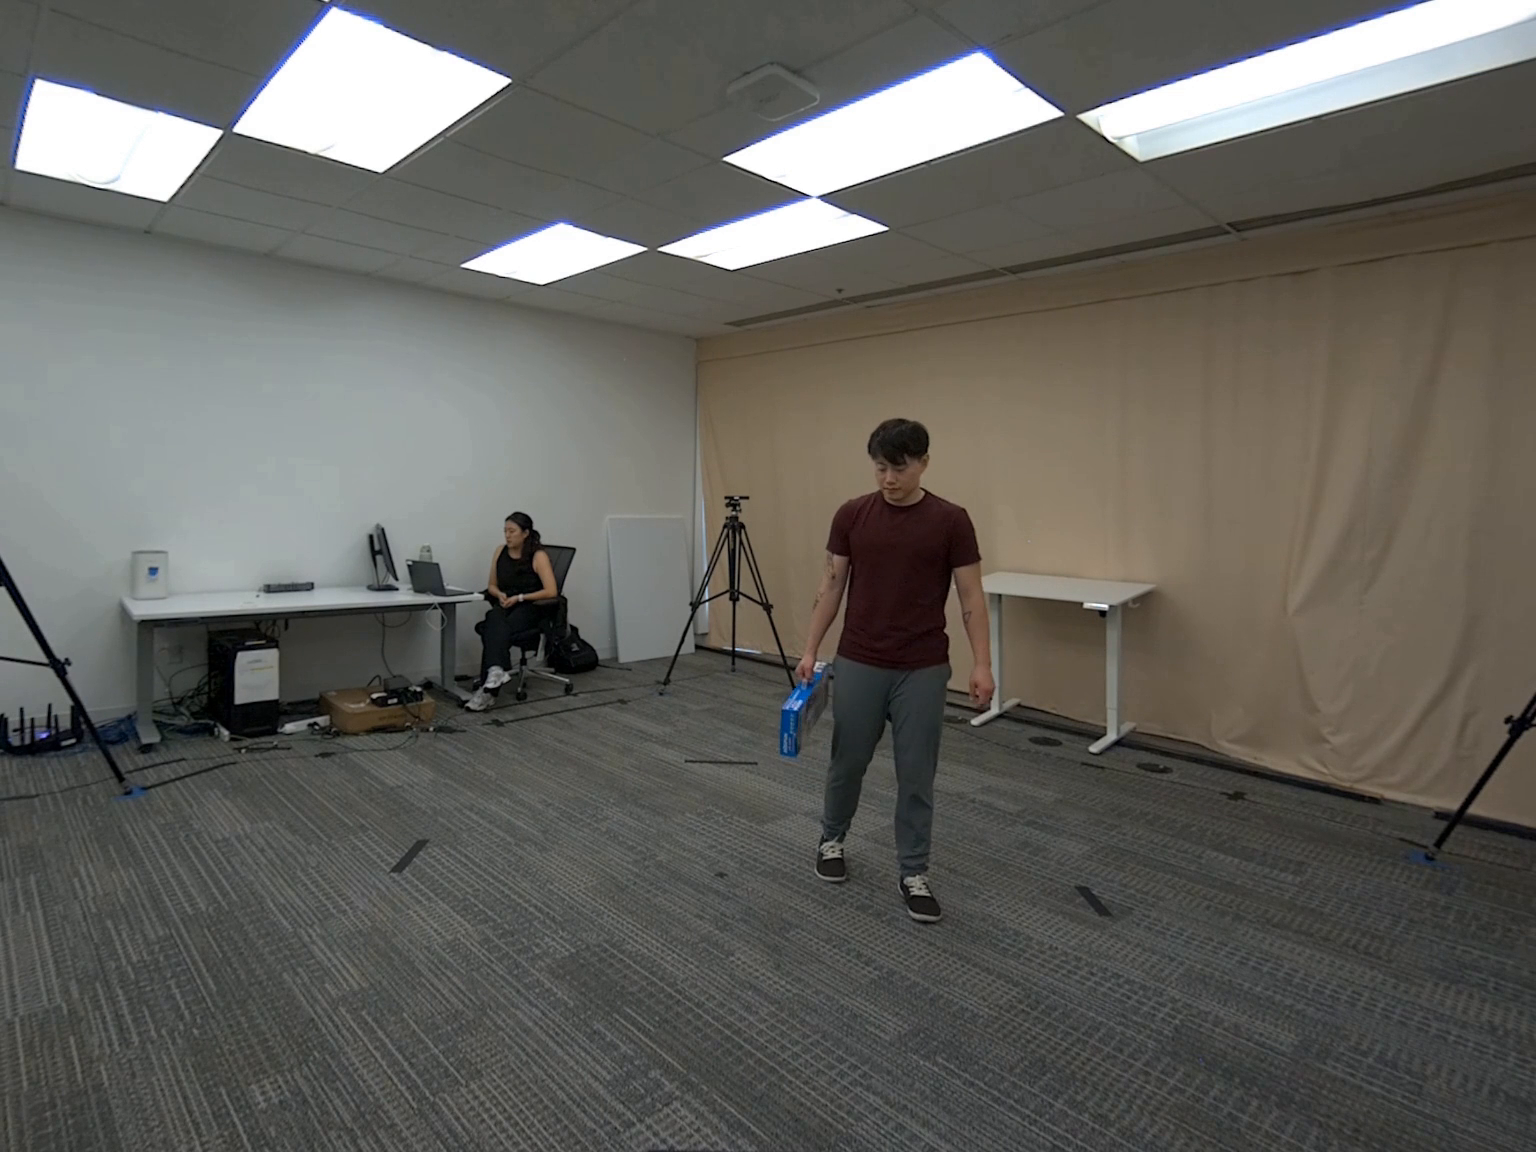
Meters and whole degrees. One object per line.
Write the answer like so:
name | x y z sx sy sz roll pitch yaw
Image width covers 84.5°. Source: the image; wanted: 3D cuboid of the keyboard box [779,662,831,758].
keyboard box | 0.133 0.467 2.999 0.060 0.174 0.435 5 17 18
